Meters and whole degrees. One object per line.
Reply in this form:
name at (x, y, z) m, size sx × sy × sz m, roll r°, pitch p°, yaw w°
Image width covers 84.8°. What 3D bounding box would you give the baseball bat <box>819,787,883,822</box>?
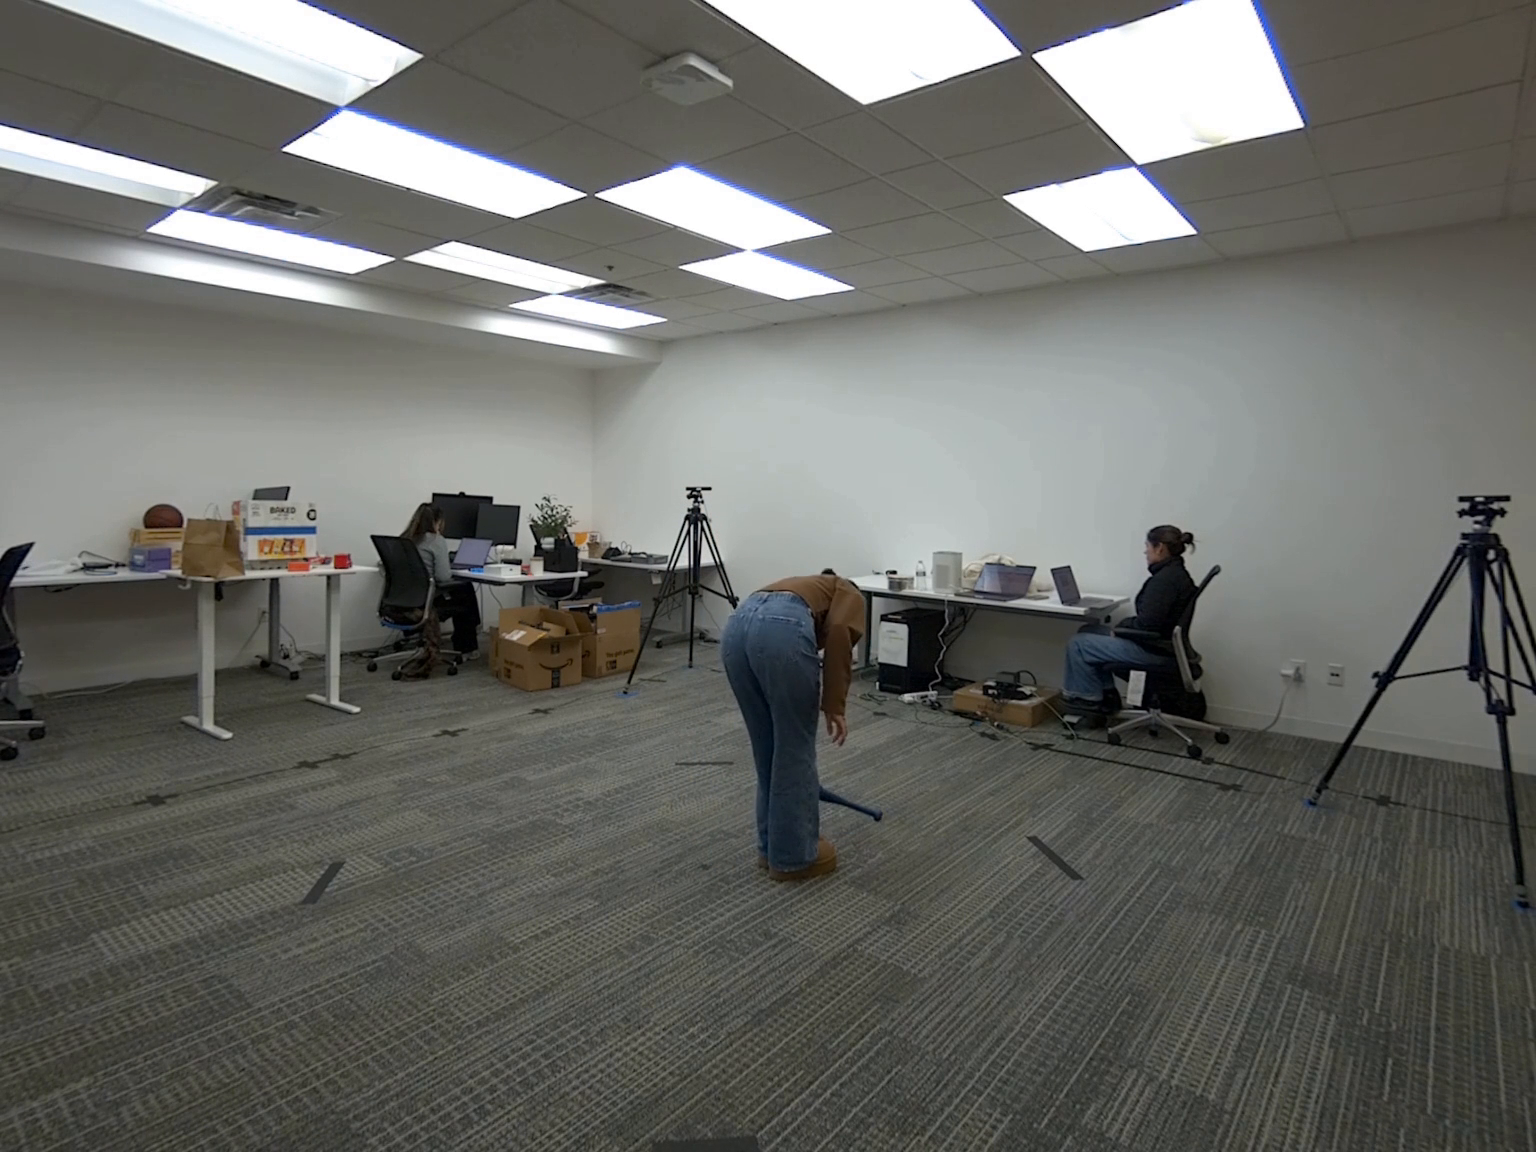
baseball bat at (0.214, 0.851, 3.387) m, size 0.538 × 0.089 × 0.090 m, roll 19°, pitch 1°, yaw -7°
